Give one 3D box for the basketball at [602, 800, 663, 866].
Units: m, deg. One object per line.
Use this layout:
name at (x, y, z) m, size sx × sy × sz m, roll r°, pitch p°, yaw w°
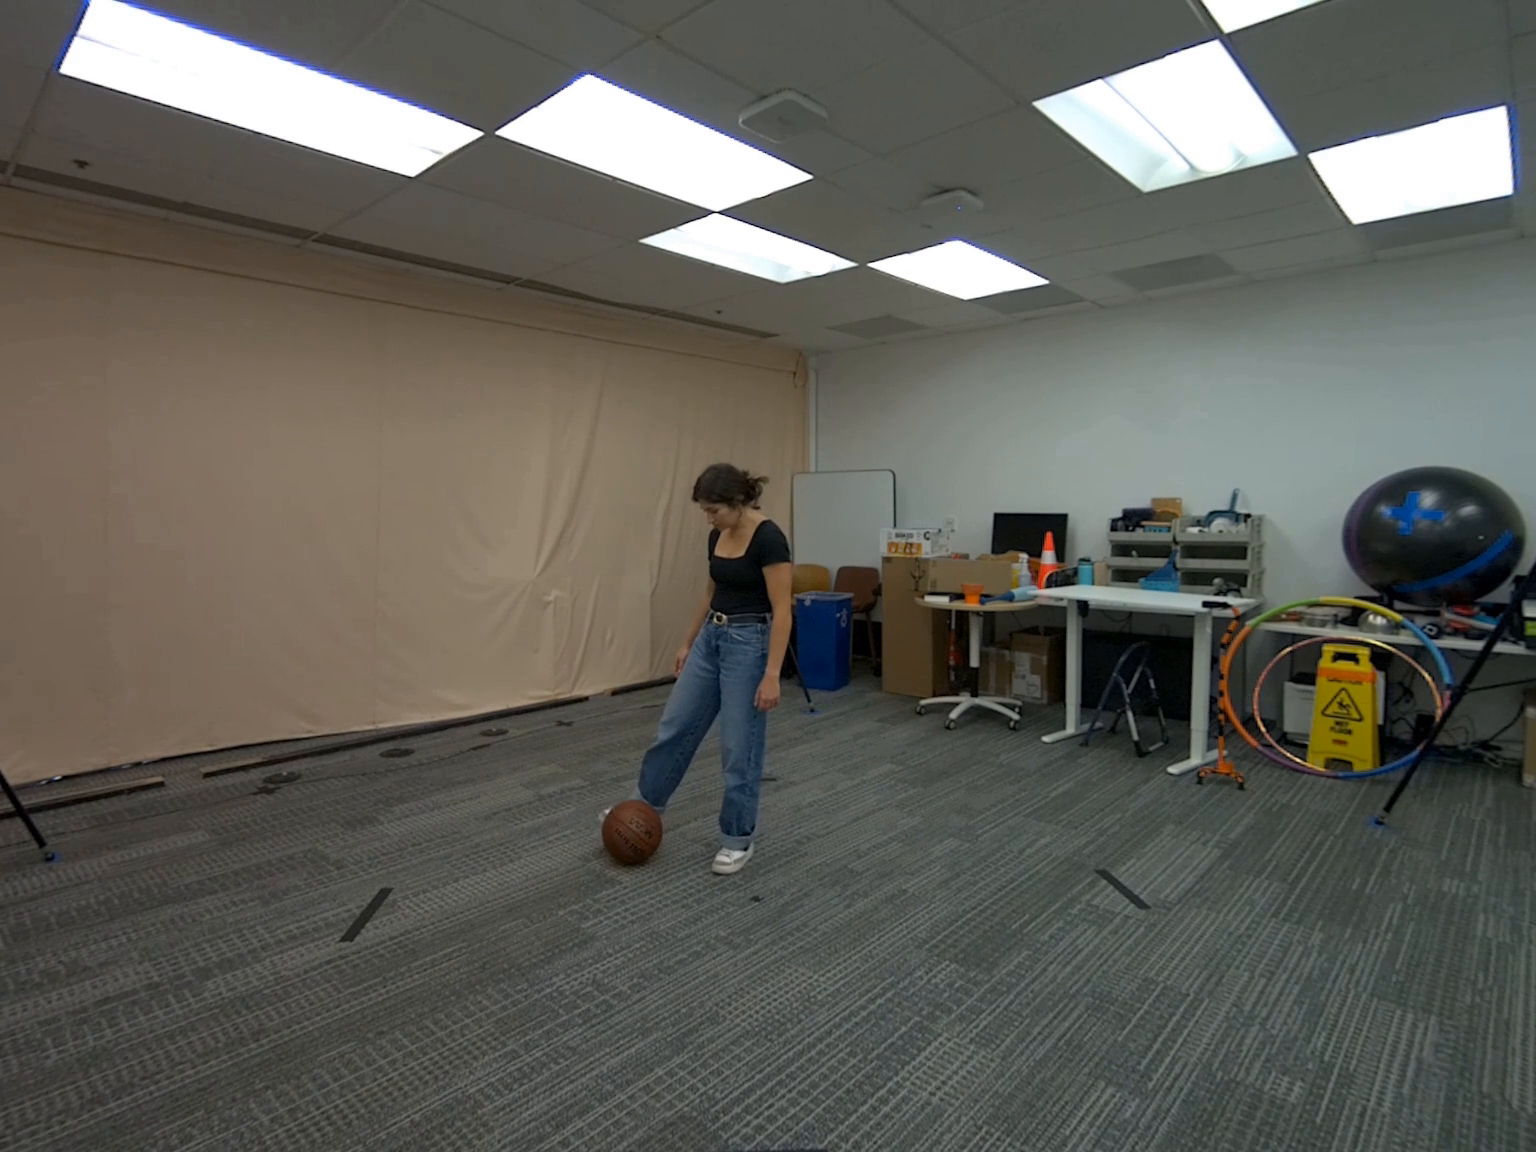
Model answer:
basketball at (-0.529, 1.001, 3.309) m, size 0.236 × 0.235 × 0.237 m, roll 0°, pitch 4°, yaw -2°
